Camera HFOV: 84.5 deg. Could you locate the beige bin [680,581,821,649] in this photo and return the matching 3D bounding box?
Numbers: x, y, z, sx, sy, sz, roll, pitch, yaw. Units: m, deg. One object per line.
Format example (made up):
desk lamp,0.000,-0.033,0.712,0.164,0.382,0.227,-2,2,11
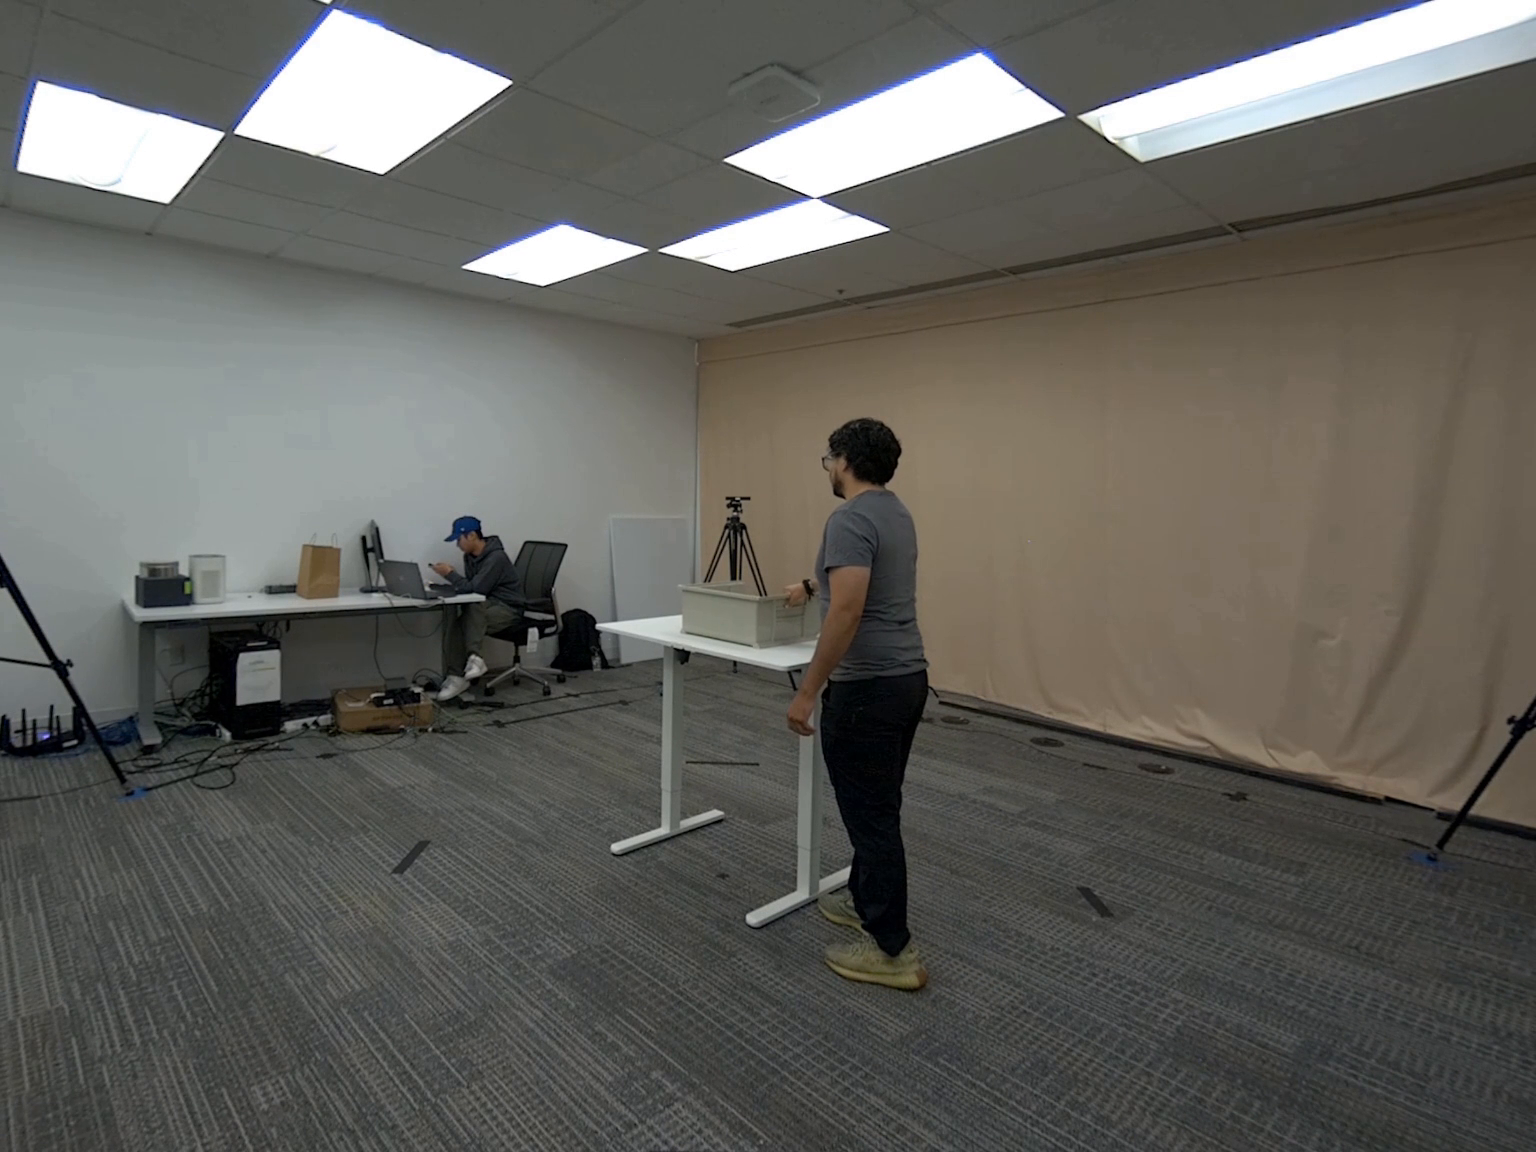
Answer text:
beige bin,-0.063,0.132,3.129,0.433,0.188,0.369,7,9,44
